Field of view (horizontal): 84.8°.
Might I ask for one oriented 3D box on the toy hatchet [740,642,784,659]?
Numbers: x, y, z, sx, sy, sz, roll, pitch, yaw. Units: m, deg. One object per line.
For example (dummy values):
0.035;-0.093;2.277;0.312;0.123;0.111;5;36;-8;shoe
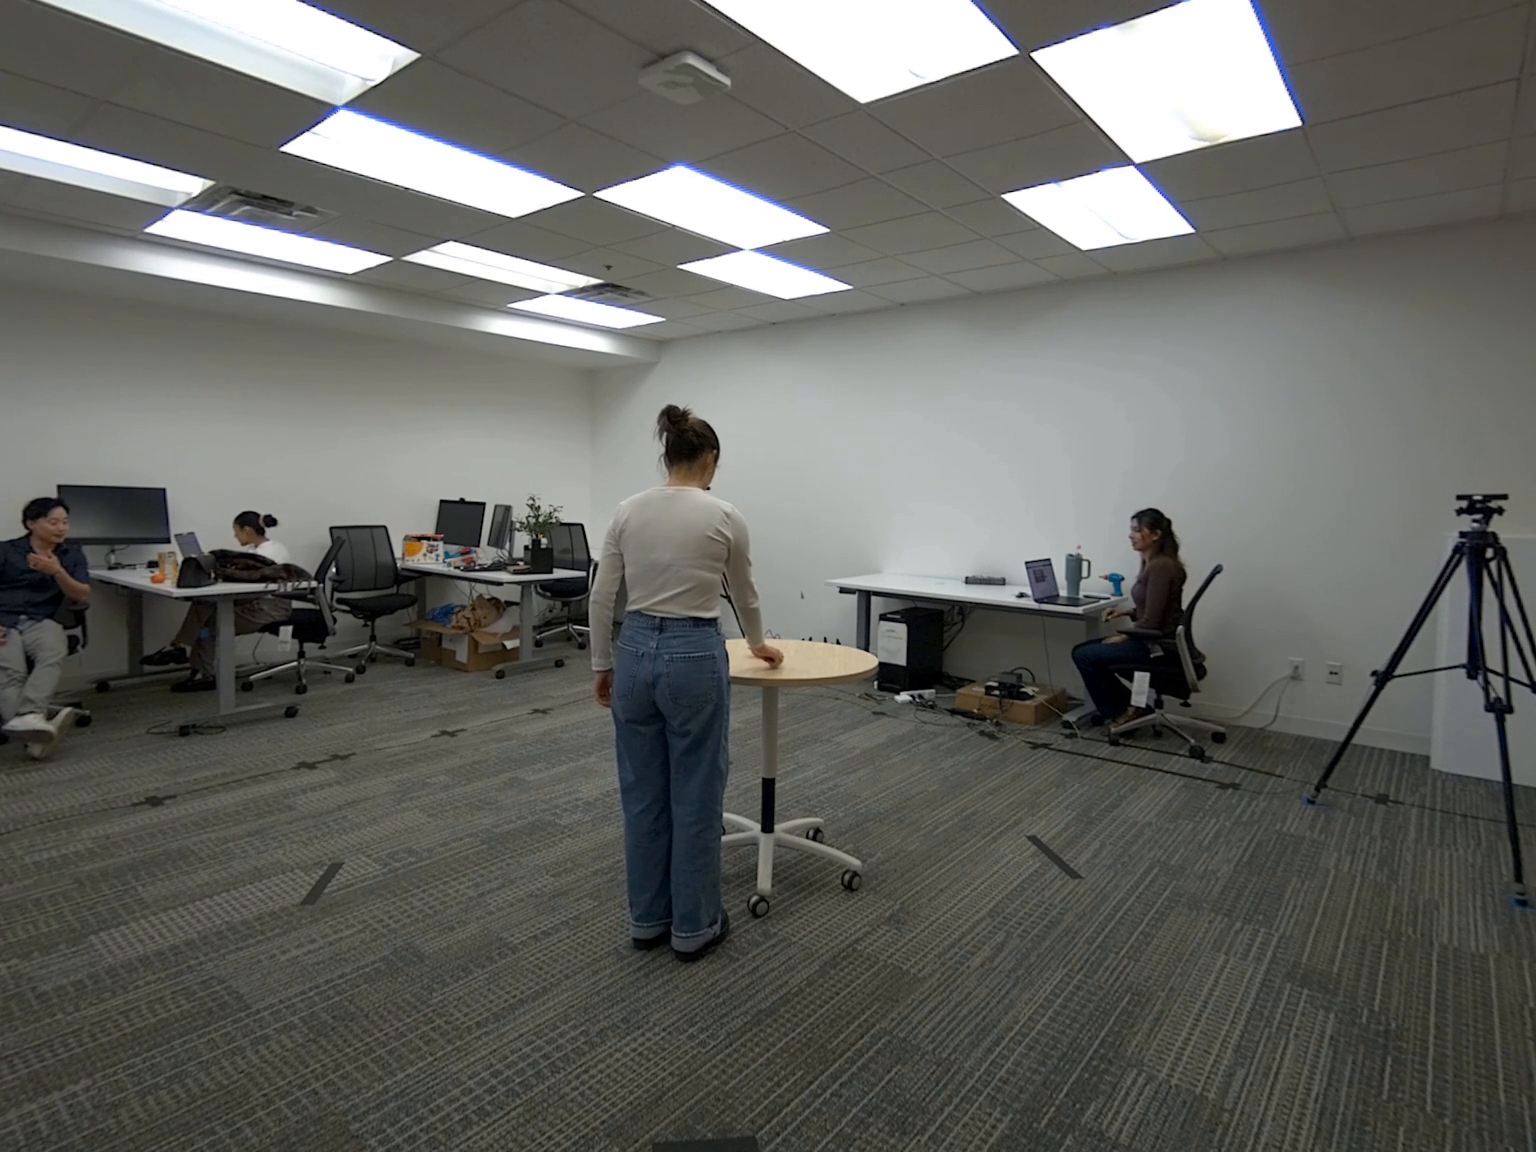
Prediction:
-0.020;0.266;2.984;0.132;0.029;0.268;14;0;4;toy hatchet
